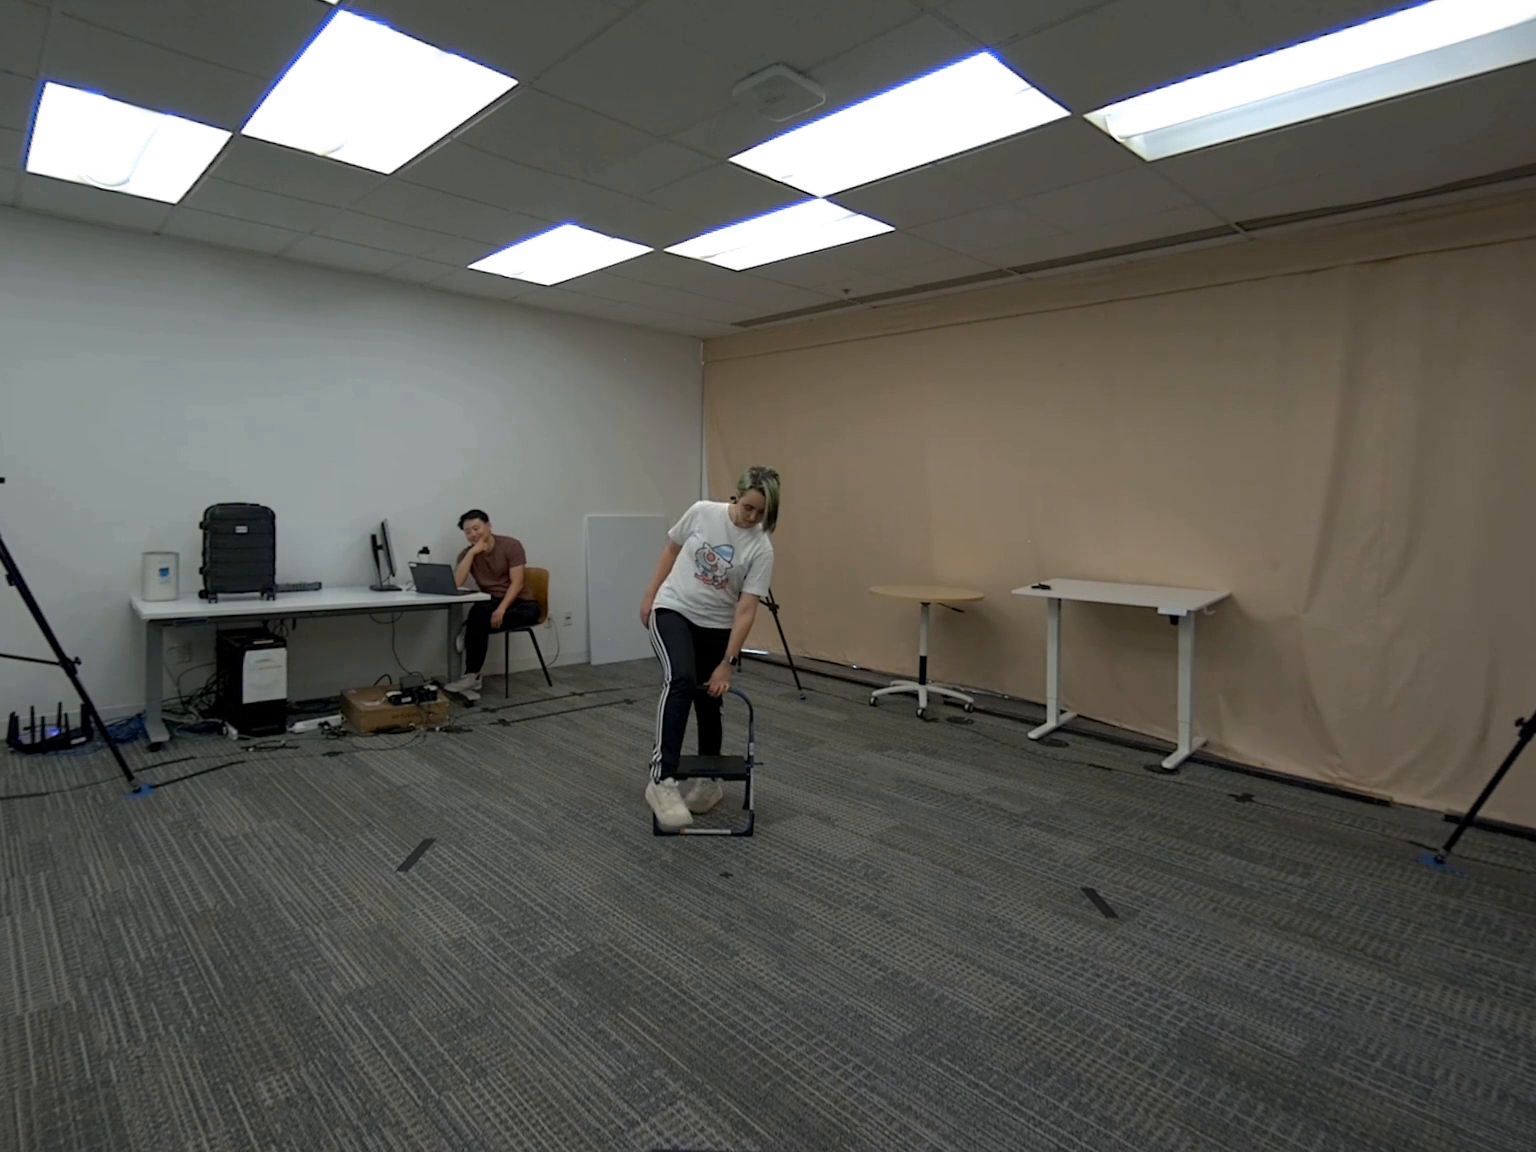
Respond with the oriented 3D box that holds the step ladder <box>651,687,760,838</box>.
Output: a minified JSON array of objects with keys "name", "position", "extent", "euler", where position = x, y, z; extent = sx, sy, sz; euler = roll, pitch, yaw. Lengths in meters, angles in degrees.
[{"name":"step ladder","position":[-0.279,0.754,3.608],"extent":[0.429,0.604,0.351],"euler":[1,4,-4]}]
